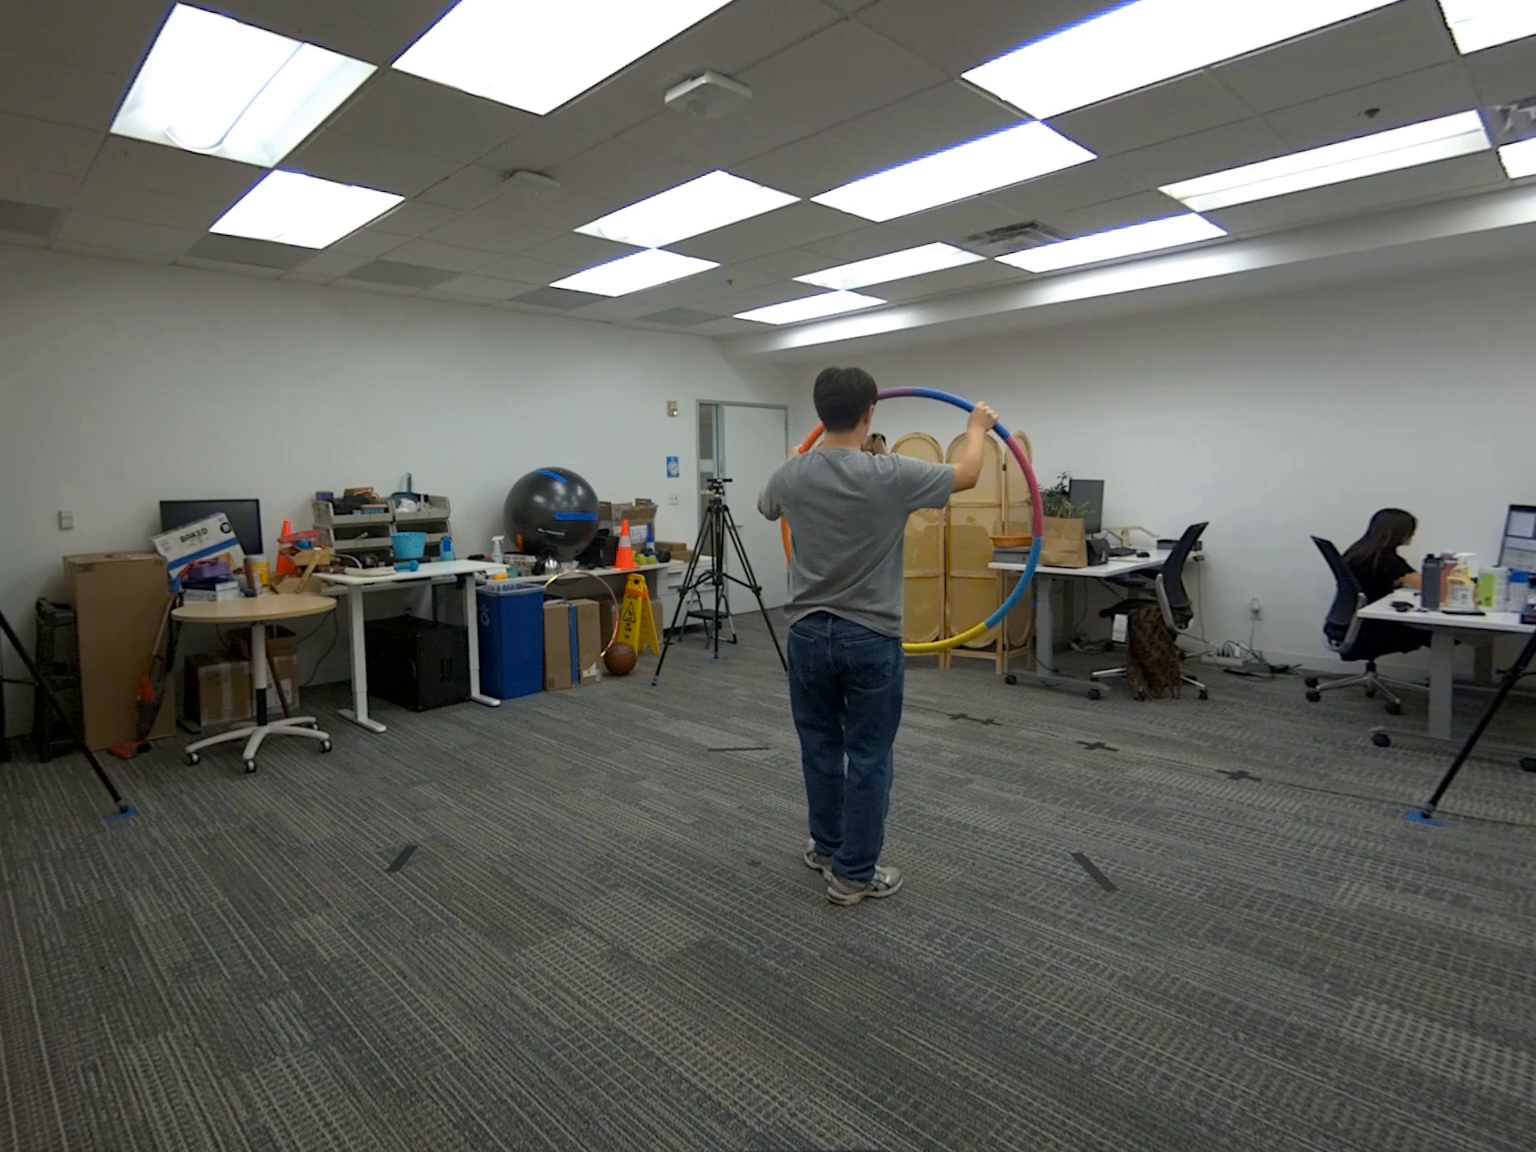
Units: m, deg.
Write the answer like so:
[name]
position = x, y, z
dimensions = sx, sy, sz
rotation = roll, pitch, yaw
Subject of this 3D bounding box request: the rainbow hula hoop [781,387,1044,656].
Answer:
[rainbow hula hoop]
position = 0.494, -0.196, 3.179
dimensions = 1.002, 0.973, 0.035
rotation = 2, 7, 27
